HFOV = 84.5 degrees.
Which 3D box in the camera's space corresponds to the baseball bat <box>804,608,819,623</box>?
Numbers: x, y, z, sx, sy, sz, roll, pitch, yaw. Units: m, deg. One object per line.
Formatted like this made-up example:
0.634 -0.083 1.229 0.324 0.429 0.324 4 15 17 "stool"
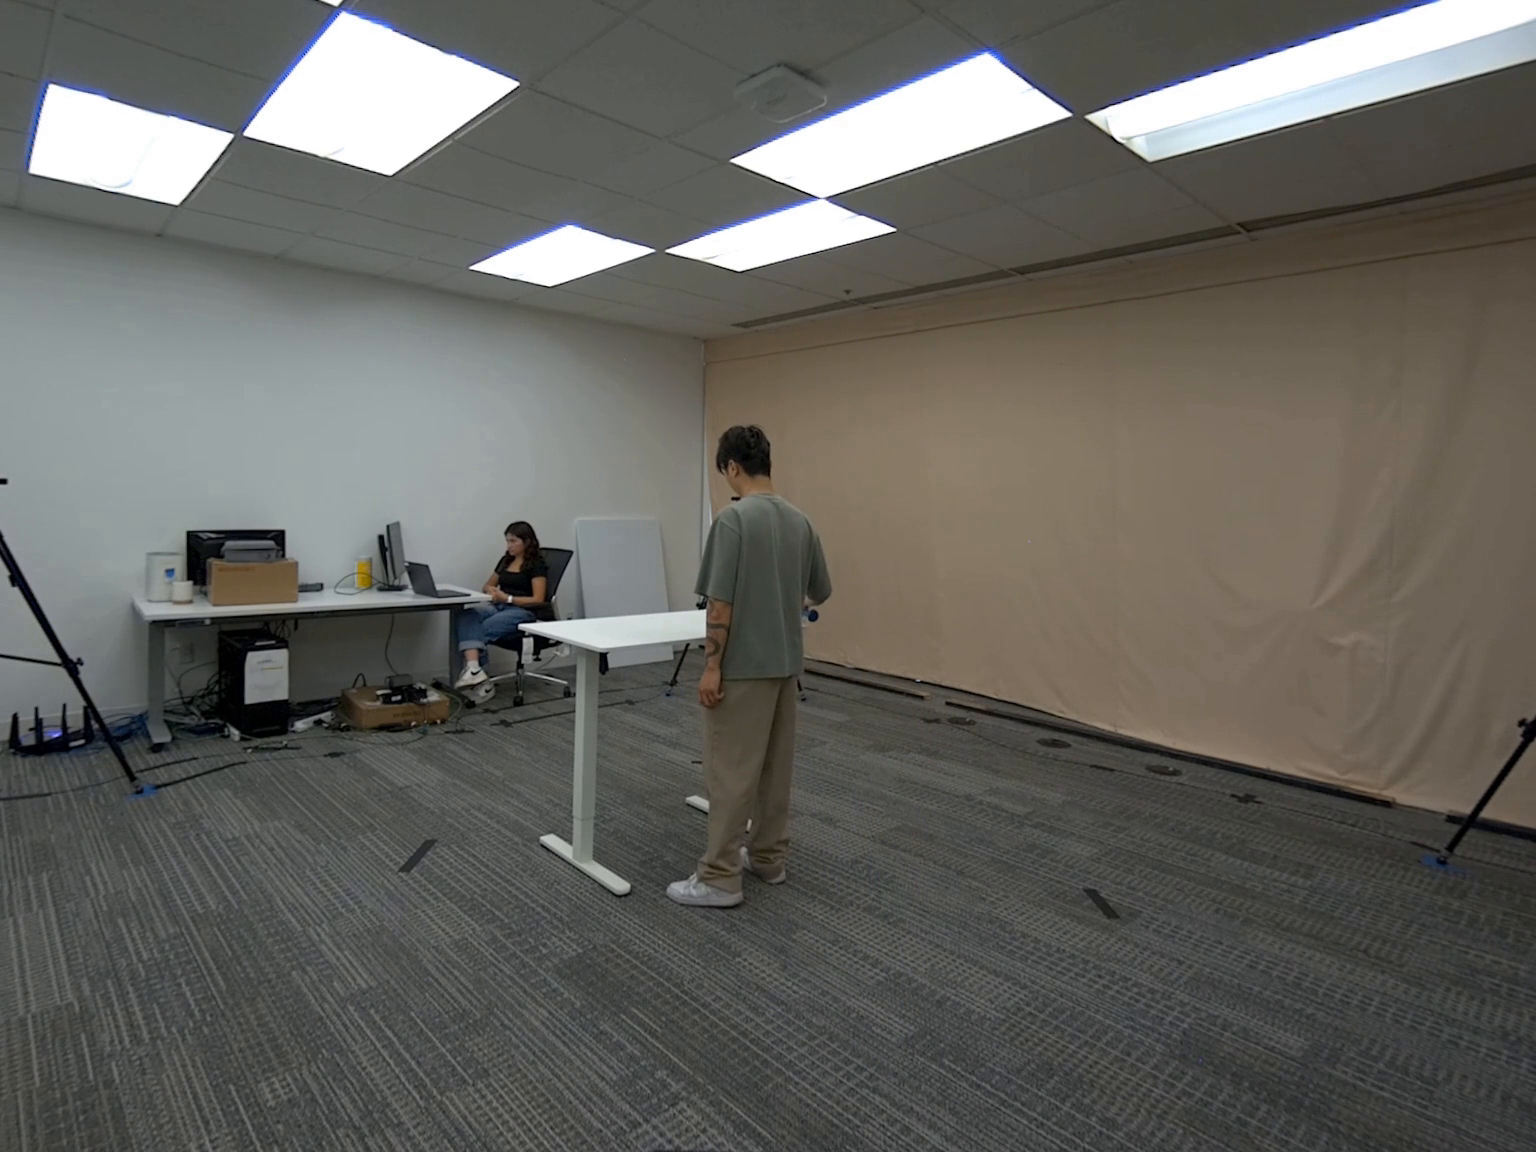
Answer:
0.035 0.120 3.618 0.087 0.088 0.557 -1 12 -30 "baseball bat"
